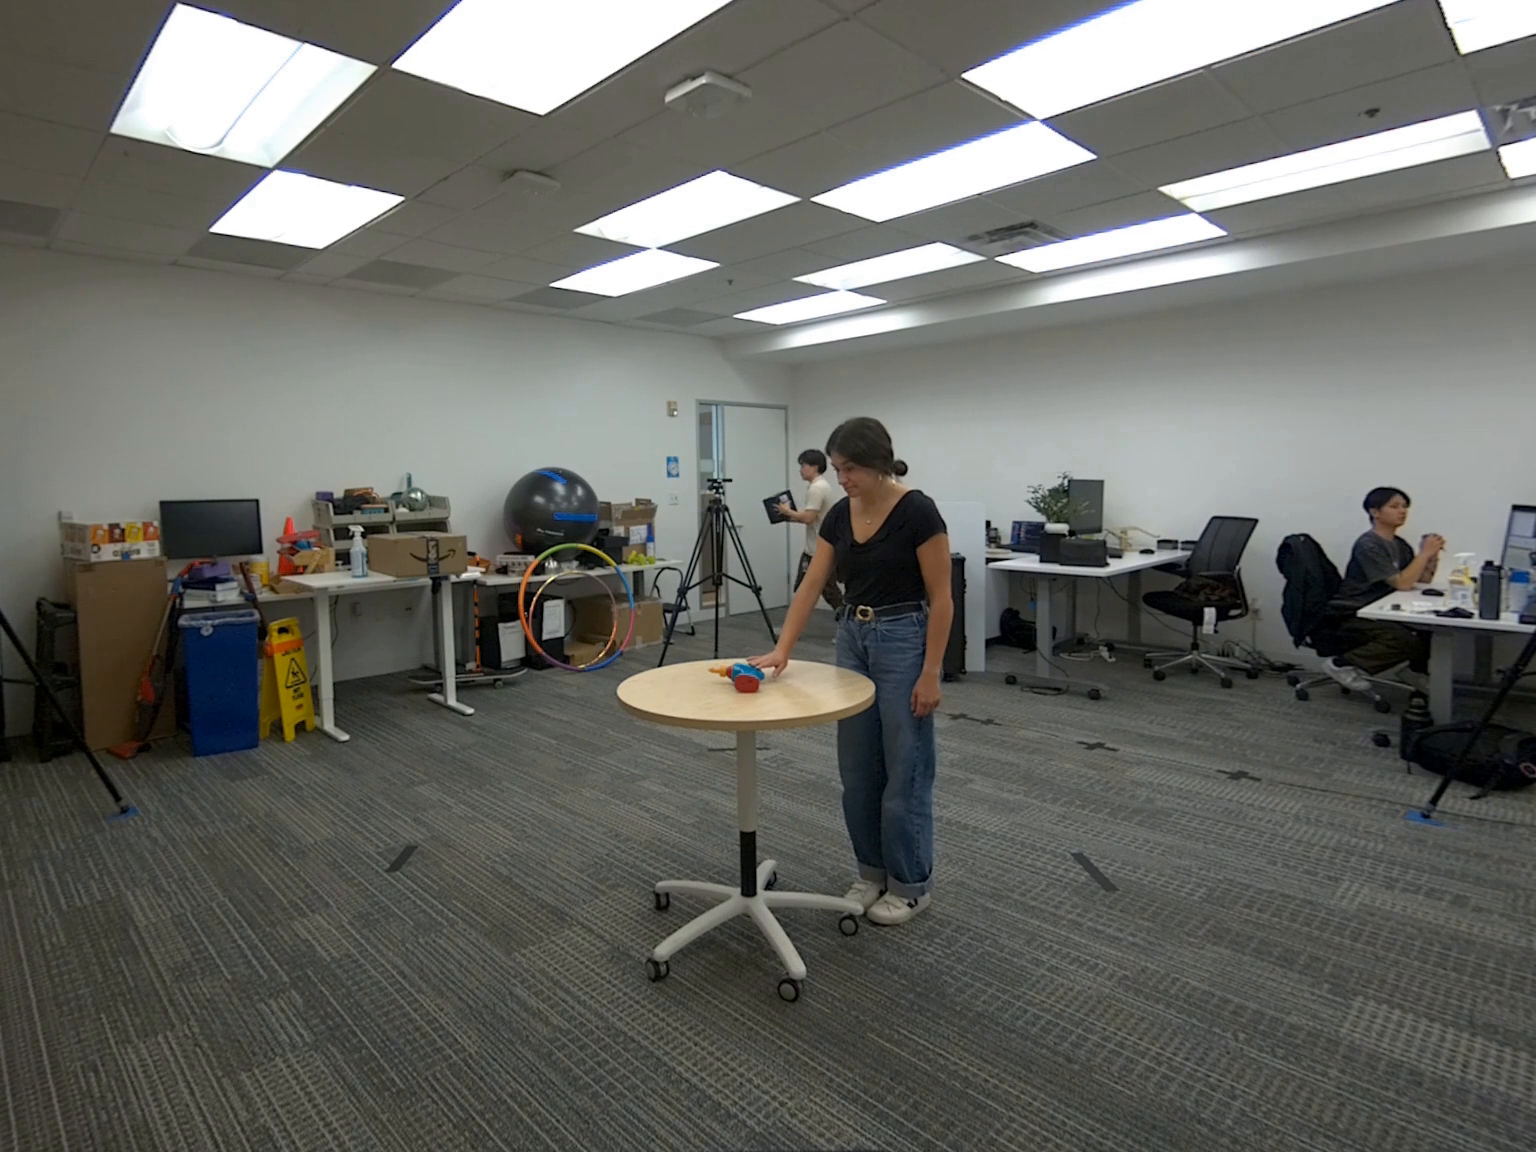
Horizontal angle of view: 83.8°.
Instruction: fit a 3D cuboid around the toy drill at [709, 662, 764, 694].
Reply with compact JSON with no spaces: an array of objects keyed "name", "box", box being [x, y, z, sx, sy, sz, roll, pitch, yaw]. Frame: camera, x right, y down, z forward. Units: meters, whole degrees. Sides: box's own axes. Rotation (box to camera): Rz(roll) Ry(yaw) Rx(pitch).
[{"name":"toy drill","box":[-0.089,0.297,2.539,0.171,0.061,0.146,8,9,5]}]
